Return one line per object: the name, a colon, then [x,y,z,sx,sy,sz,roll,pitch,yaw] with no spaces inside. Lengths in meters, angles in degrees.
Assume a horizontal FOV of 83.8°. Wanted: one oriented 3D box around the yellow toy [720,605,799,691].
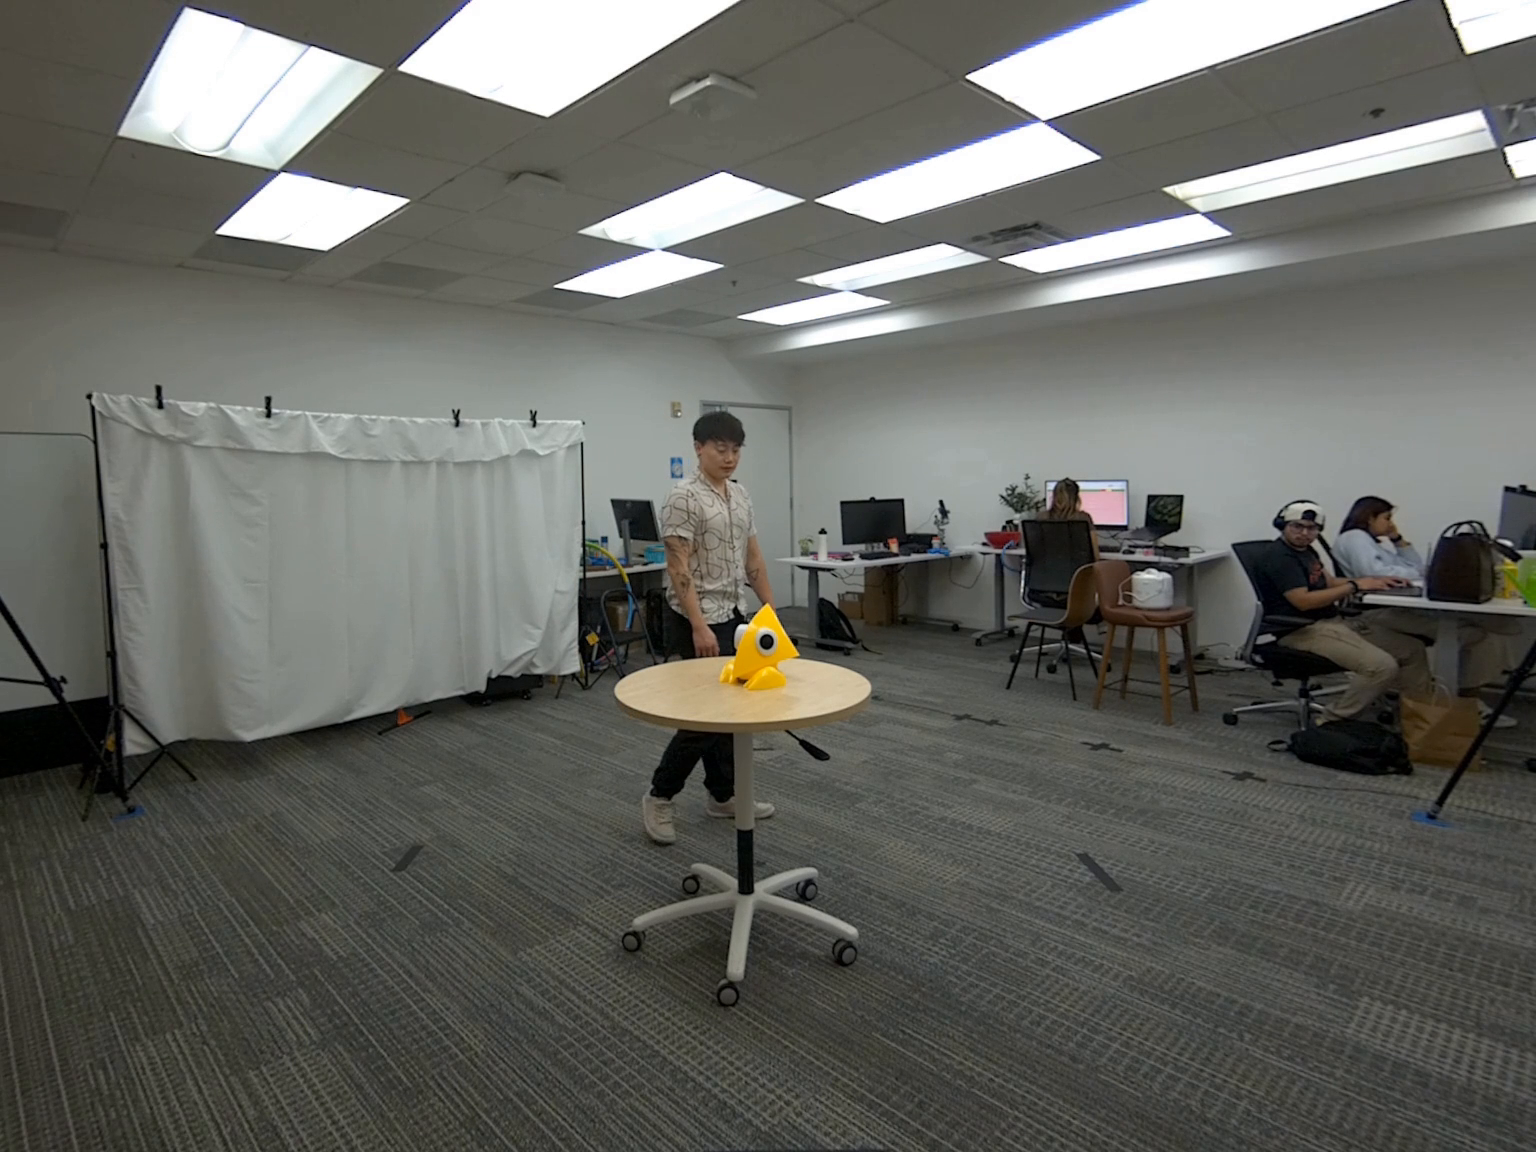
yellow toy: [-0.041,0.210,2.603,0.188,0.229,0.211,-7,8,-44]
